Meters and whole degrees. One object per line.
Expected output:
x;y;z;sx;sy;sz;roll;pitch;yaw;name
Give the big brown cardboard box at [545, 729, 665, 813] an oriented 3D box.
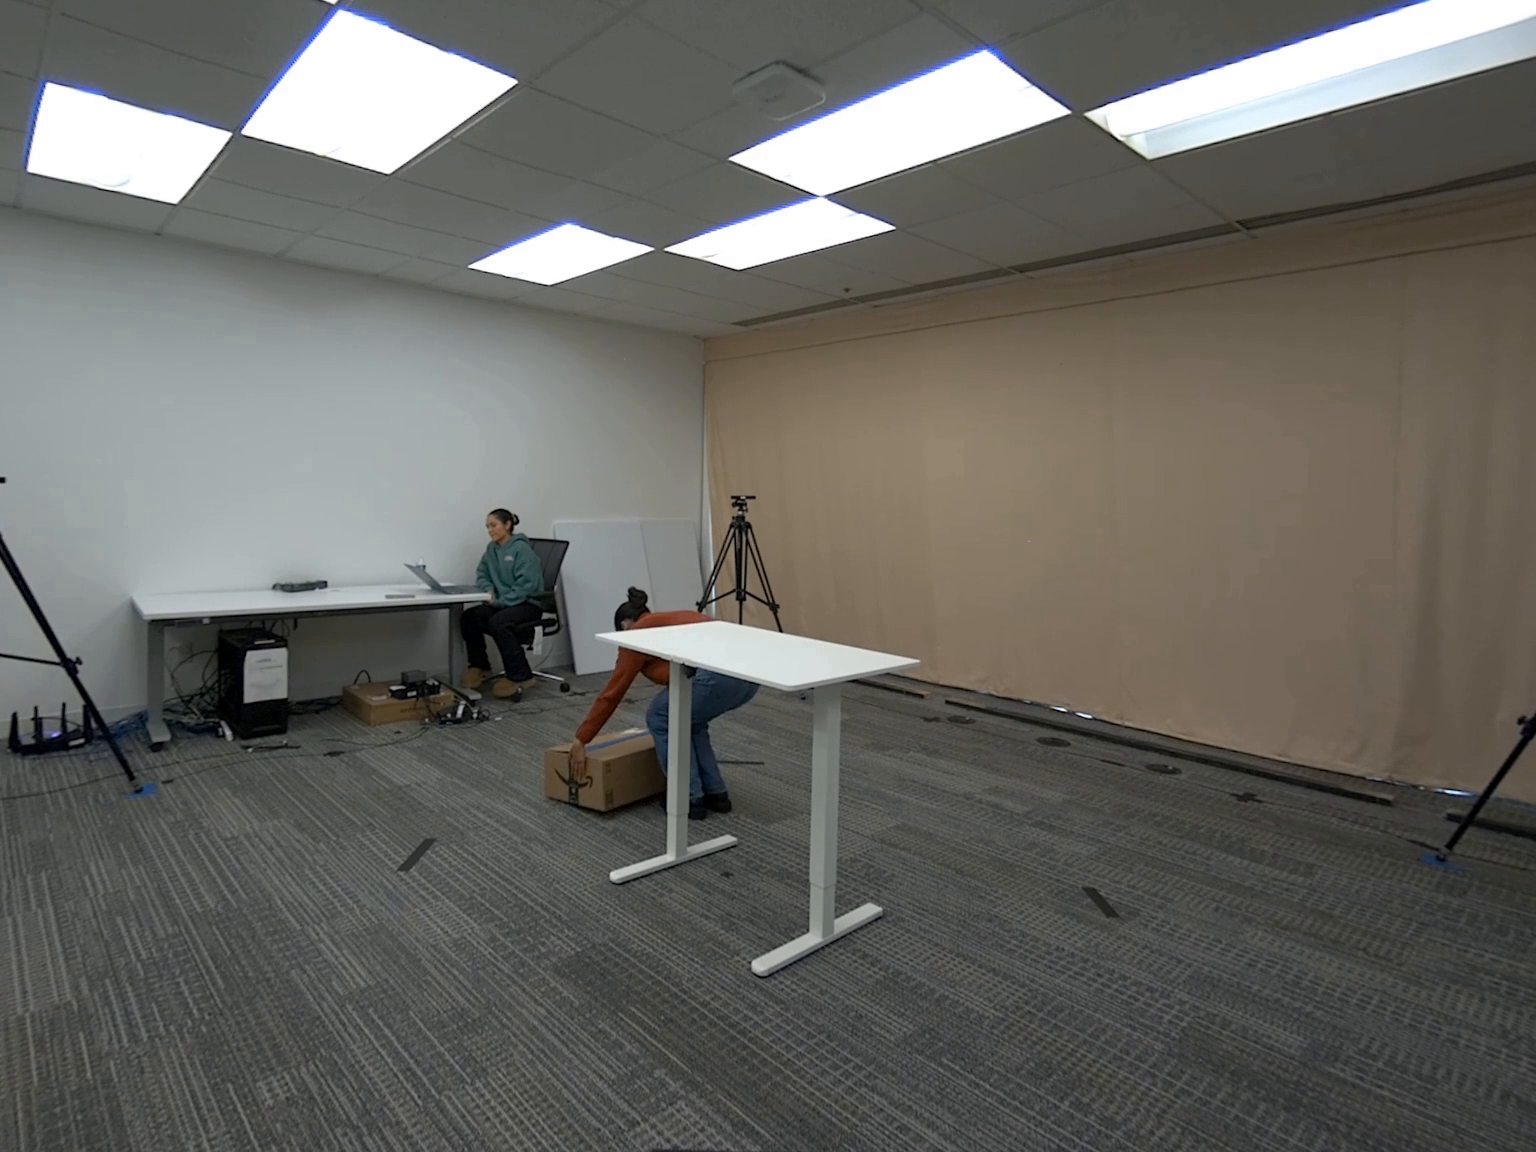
-0.690;0.877;3.935;0.427;0.233;0.576;-2;3;39;big brown cardboard box
